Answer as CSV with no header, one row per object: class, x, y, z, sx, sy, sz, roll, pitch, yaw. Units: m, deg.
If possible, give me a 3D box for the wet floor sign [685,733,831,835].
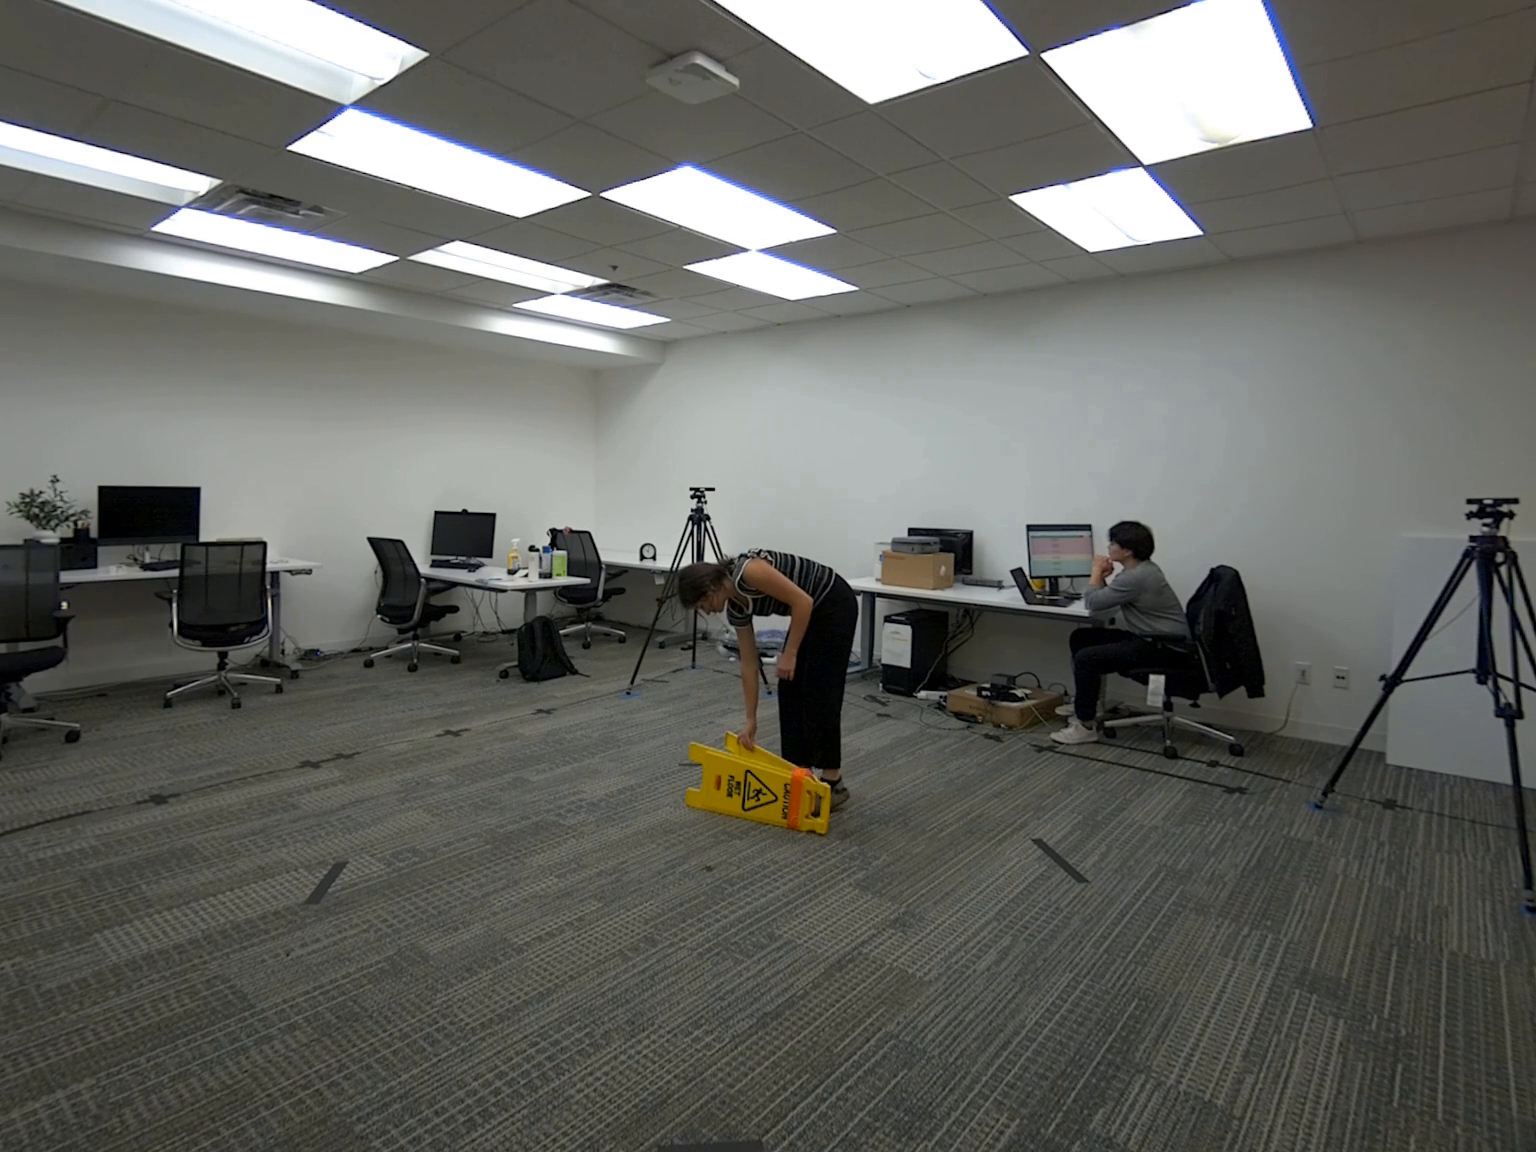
wet floor sign,-0.024,0.895,3.626,0.669,0.281,0.281,9,6,38
